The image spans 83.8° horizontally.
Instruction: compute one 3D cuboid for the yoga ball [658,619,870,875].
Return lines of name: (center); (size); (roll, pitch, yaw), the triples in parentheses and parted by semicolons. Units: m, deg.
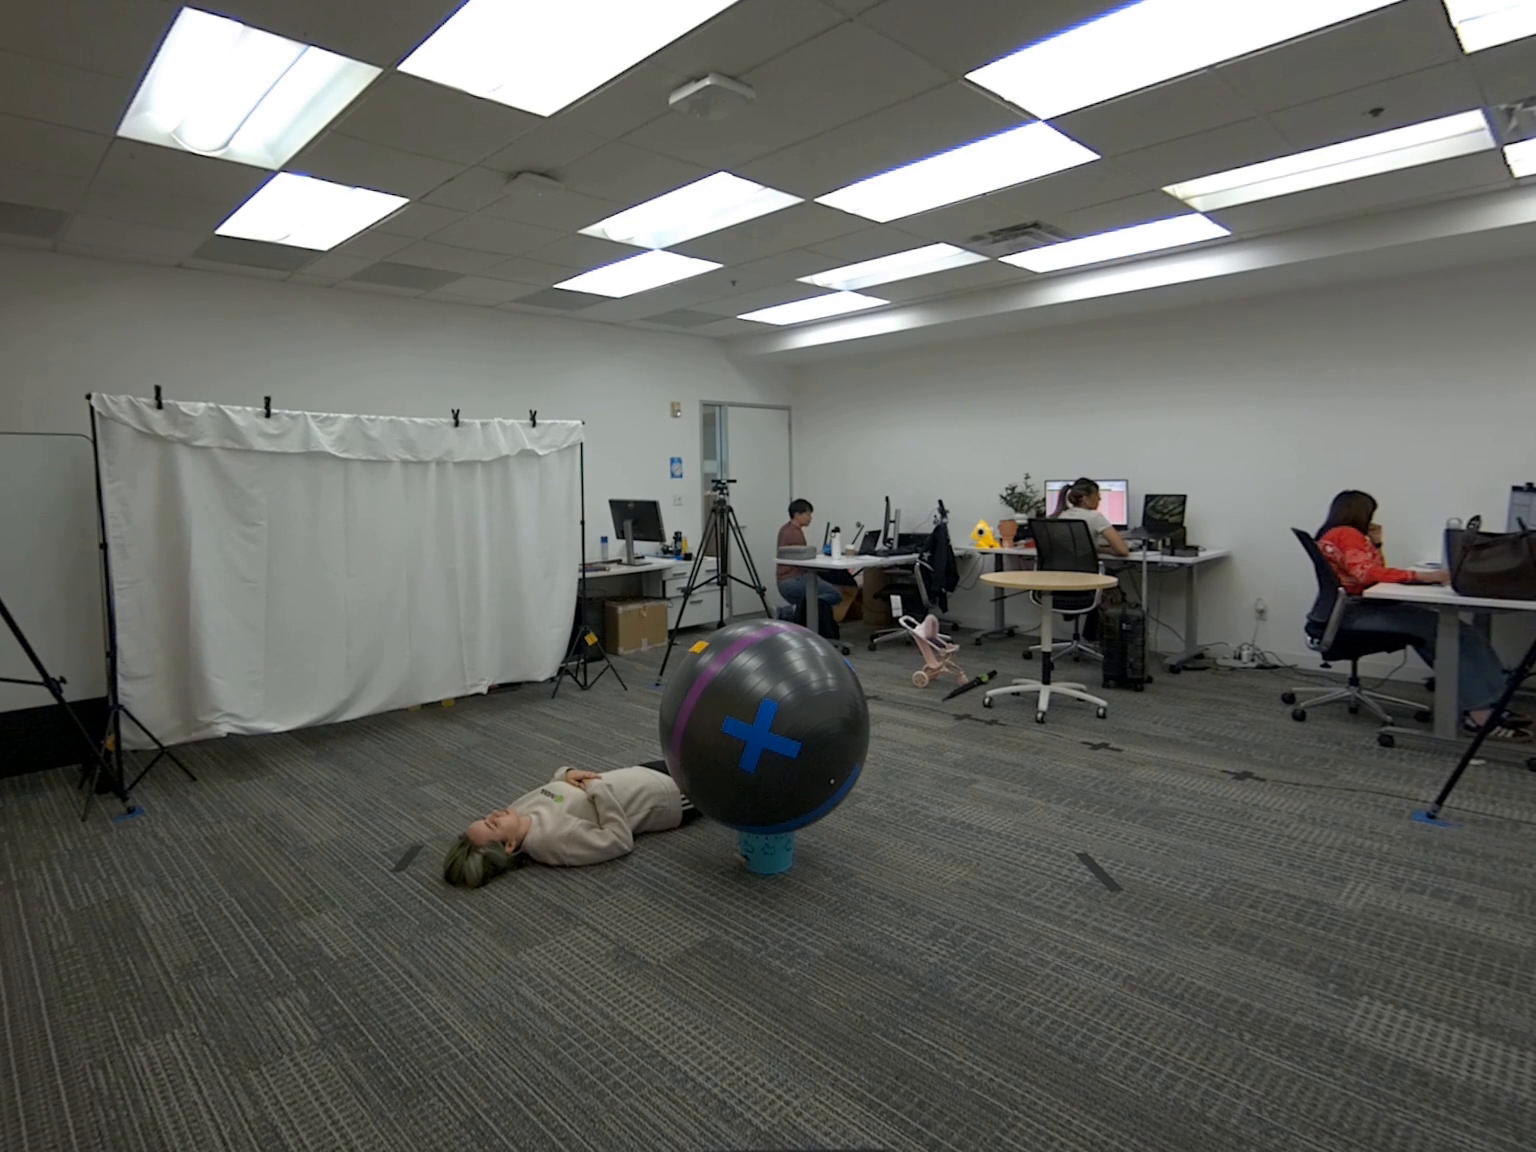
yoga ball: (-0.015, 0.535, 3.089); (0.757, 0.755, 0.762); (-1, 5, -2)
